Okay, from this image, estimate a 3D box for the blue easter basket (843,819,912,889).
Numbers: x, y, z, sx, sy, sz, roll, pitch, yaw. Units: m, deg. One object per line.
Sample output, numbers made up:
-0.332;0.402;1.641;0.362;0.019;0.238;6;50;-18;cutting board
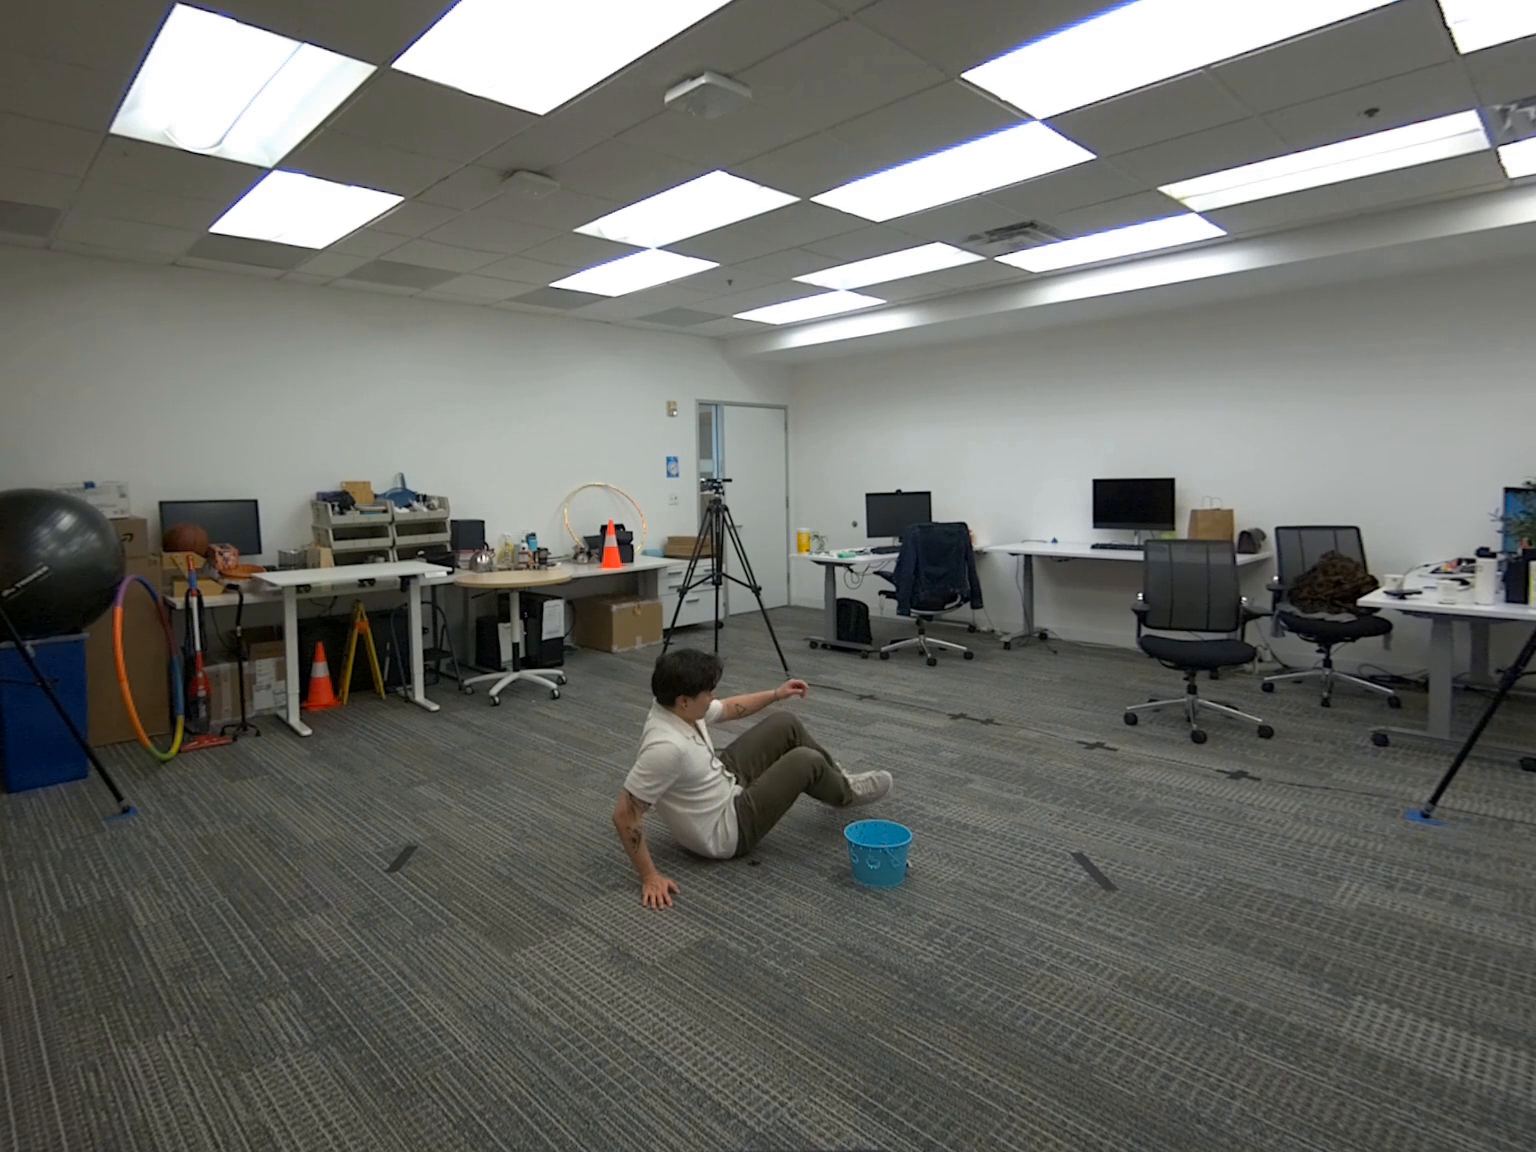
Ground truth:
0.386;0.965;2.984;0.243;0.155;0.245;-2;7;-1;blue easter basket
